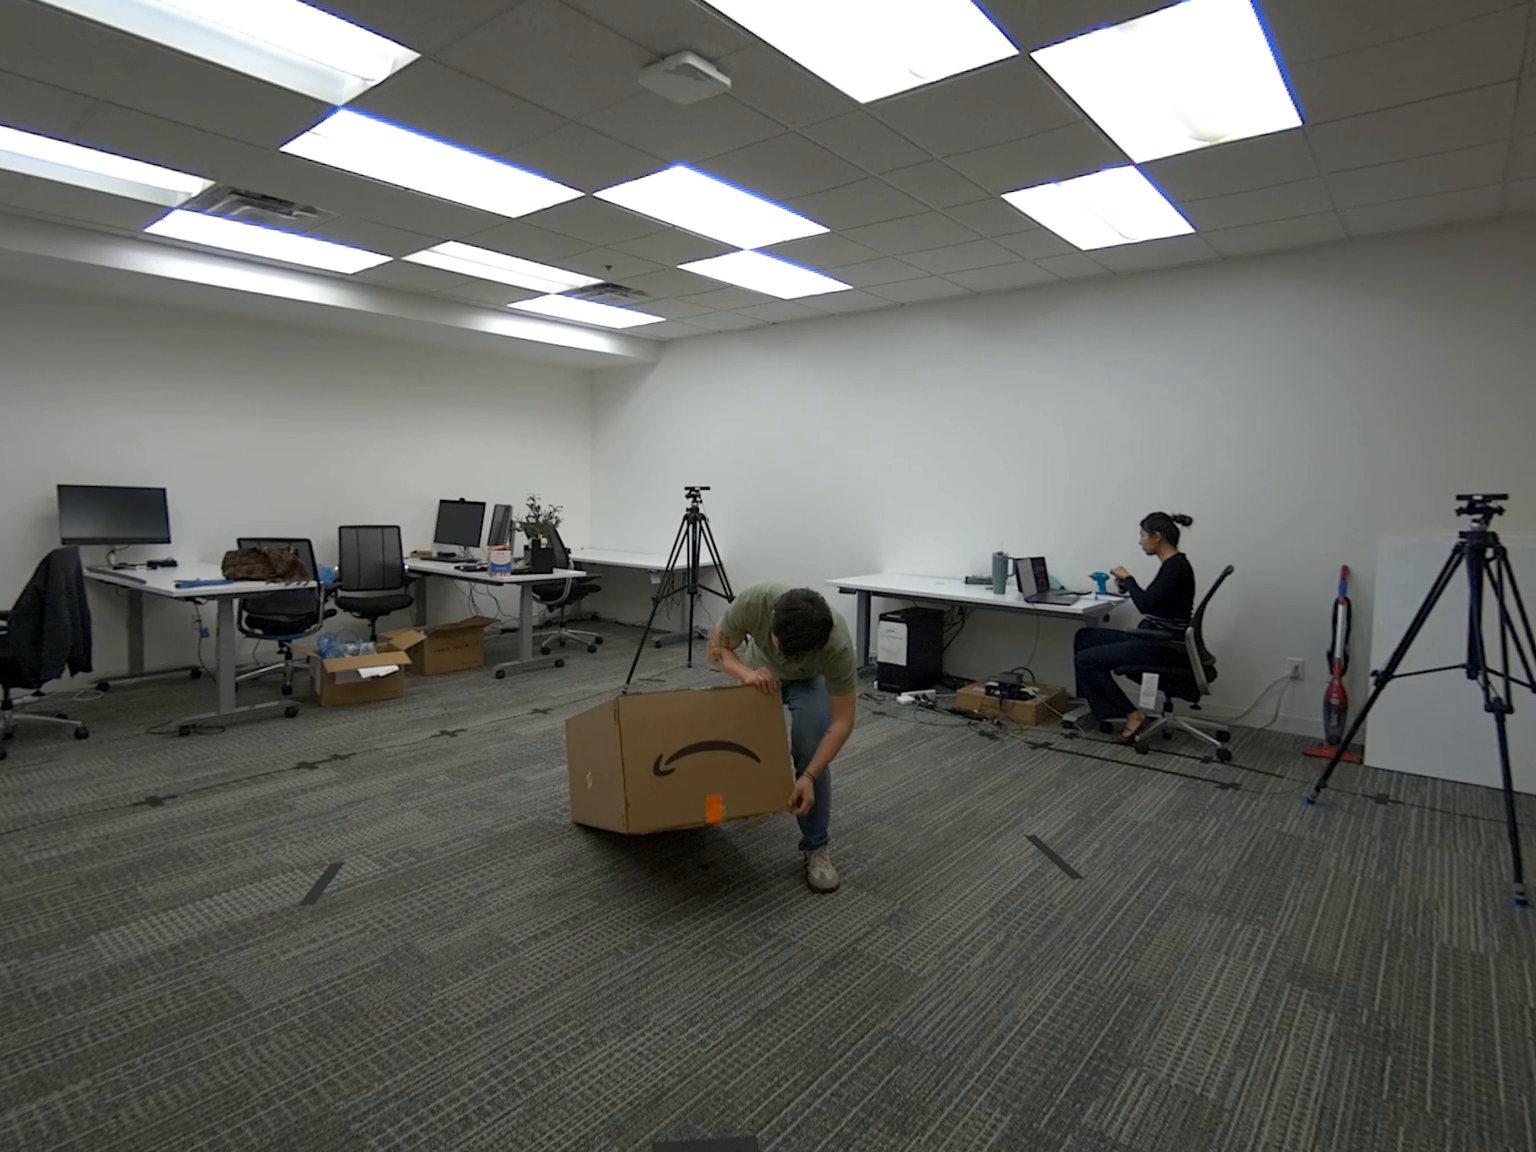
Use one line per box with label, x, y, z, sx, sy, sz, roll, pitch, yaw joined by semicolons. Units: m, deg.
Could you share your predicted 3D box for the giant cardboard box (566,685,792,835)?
giant cardboard box;-0.418;0.696;3.221;0.567;0.432;1.031;-1;-12;-20
